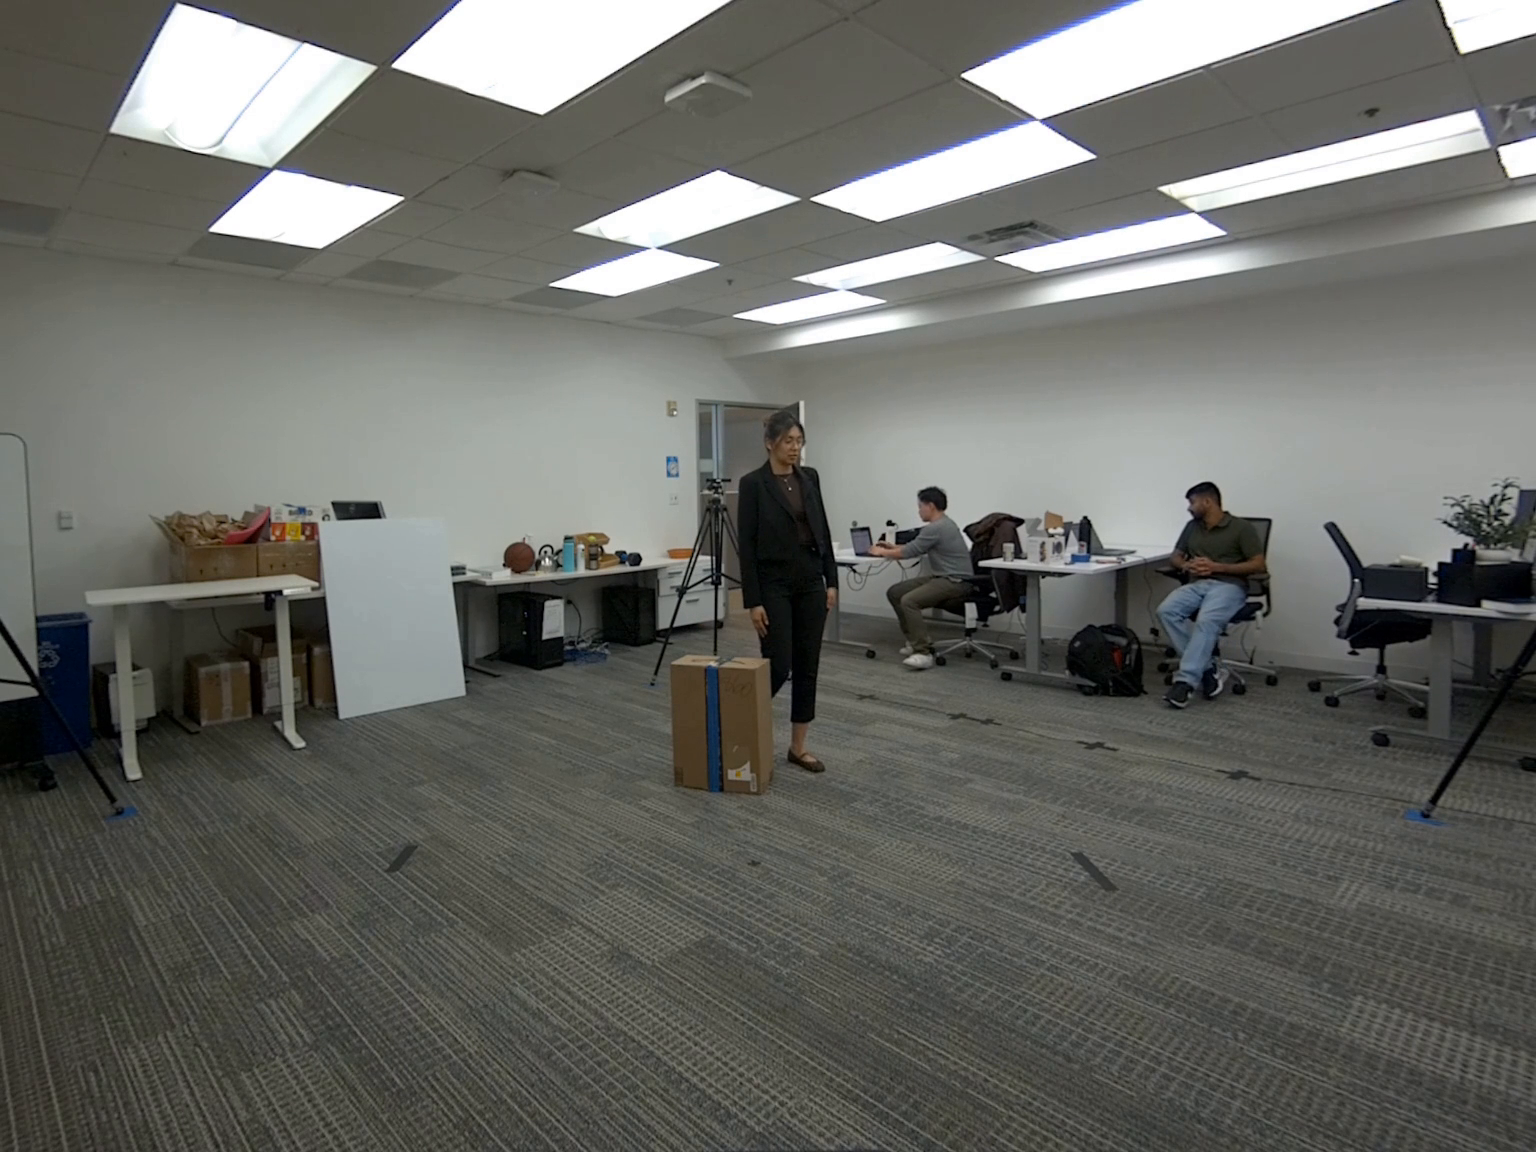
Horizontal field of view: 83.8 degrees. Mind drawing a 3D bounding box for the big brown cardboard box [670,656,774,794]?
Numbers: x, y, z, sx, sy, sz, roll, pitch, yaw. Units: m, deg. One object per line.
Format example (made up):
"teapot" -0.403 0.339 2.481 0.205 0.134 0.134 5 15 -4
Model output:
"big brown cardboard box" -0.212 0.676 3.927 0.425 0.588 0.229 -1 3 19
